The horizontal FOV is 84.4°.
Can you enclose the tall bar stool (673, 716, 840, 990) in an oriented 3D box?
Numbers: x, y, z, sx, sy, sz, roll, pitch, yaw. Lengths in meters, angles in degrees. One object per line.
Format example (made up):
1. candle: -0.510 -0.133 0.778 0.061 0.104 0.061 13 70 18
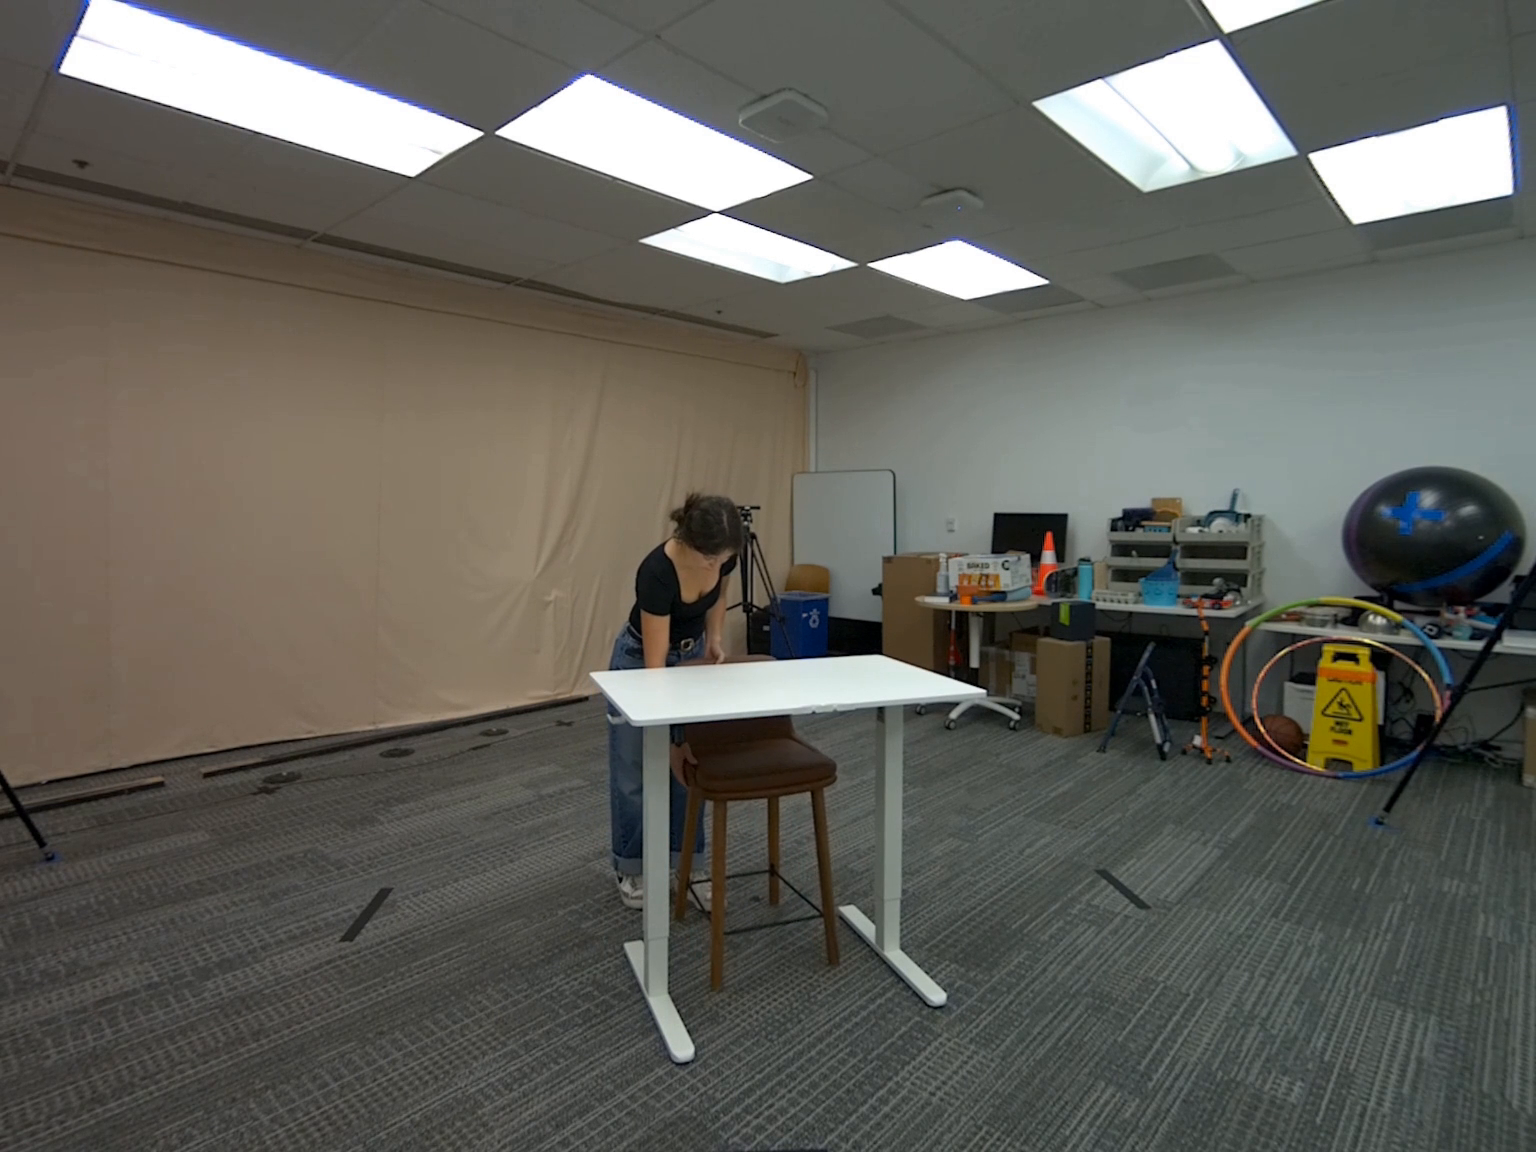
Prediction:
1. tall bar stool: -0.048 0.736 2.676 0.447 0.889 0.478 -2 2 -22
